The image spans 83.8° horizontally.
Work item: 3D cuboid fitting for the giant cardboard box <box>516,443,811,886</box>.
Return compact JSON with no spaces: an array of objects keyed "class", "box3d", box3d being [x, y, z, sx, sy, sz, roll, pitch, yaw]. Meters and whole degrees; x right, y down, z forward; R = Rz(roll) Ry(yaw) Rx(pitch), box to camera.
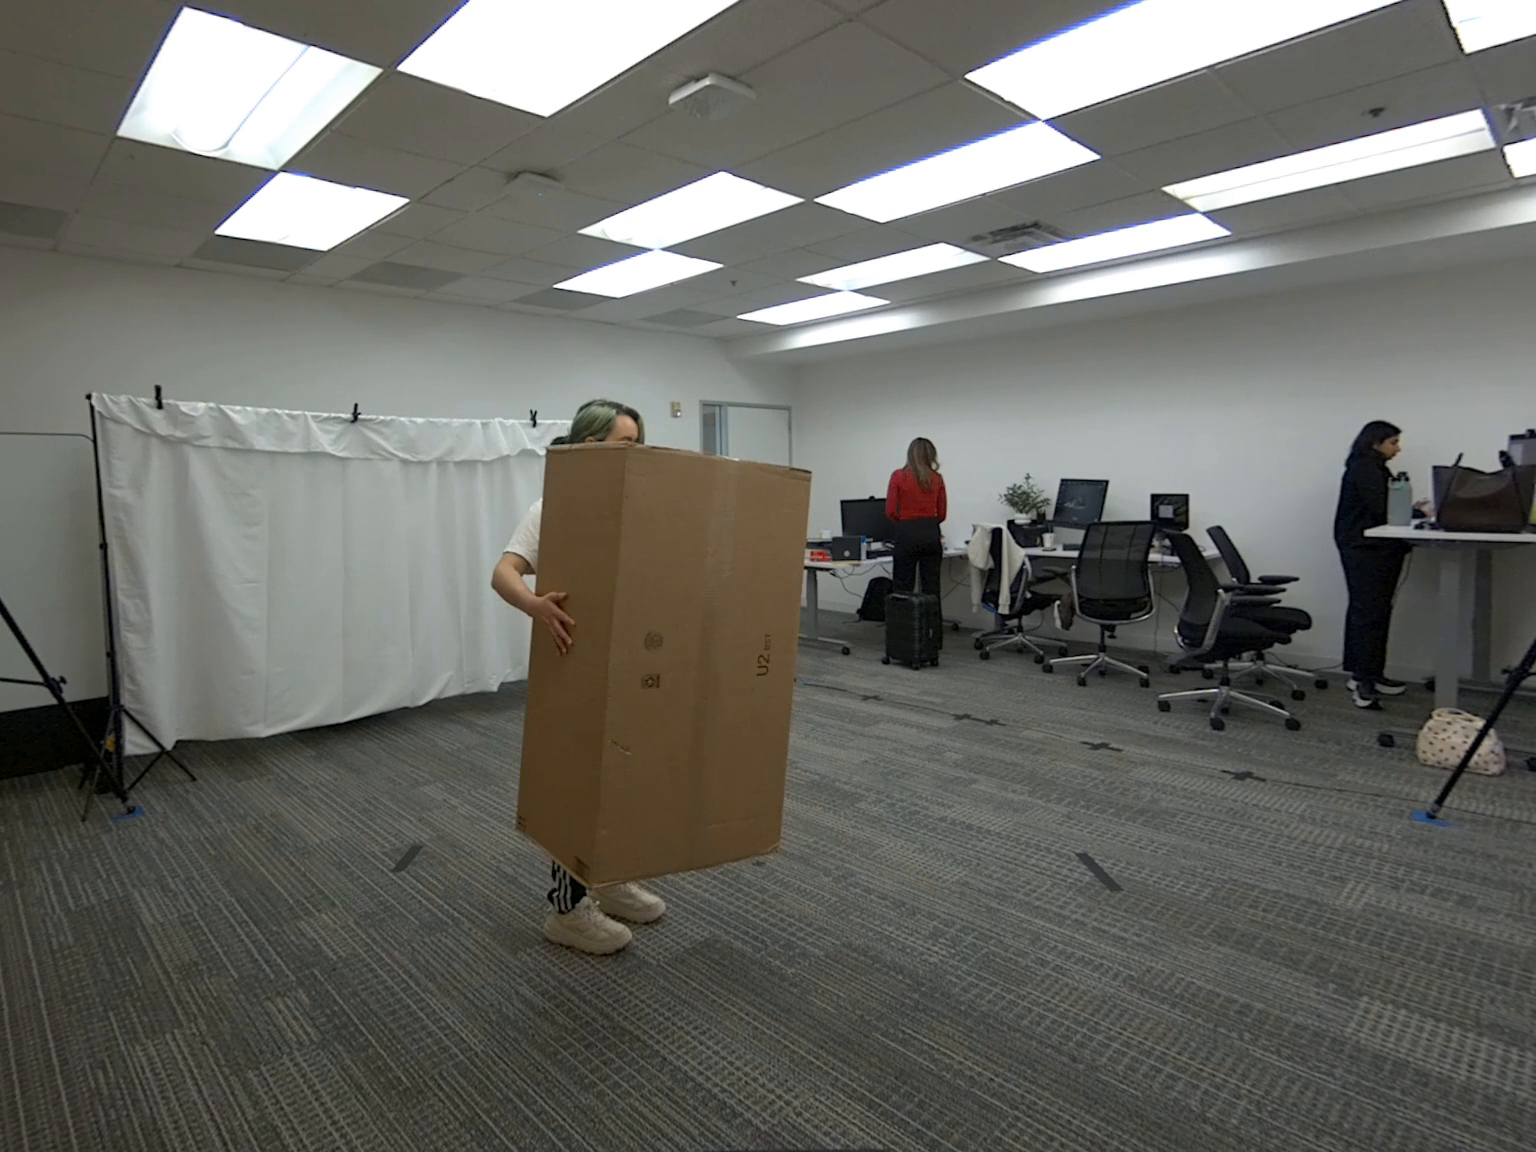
[{"class":"giant cardboard box","box3d":[-0.269,0.198,2.267,0.560,1.025,0.439,4,1,-38]}]
